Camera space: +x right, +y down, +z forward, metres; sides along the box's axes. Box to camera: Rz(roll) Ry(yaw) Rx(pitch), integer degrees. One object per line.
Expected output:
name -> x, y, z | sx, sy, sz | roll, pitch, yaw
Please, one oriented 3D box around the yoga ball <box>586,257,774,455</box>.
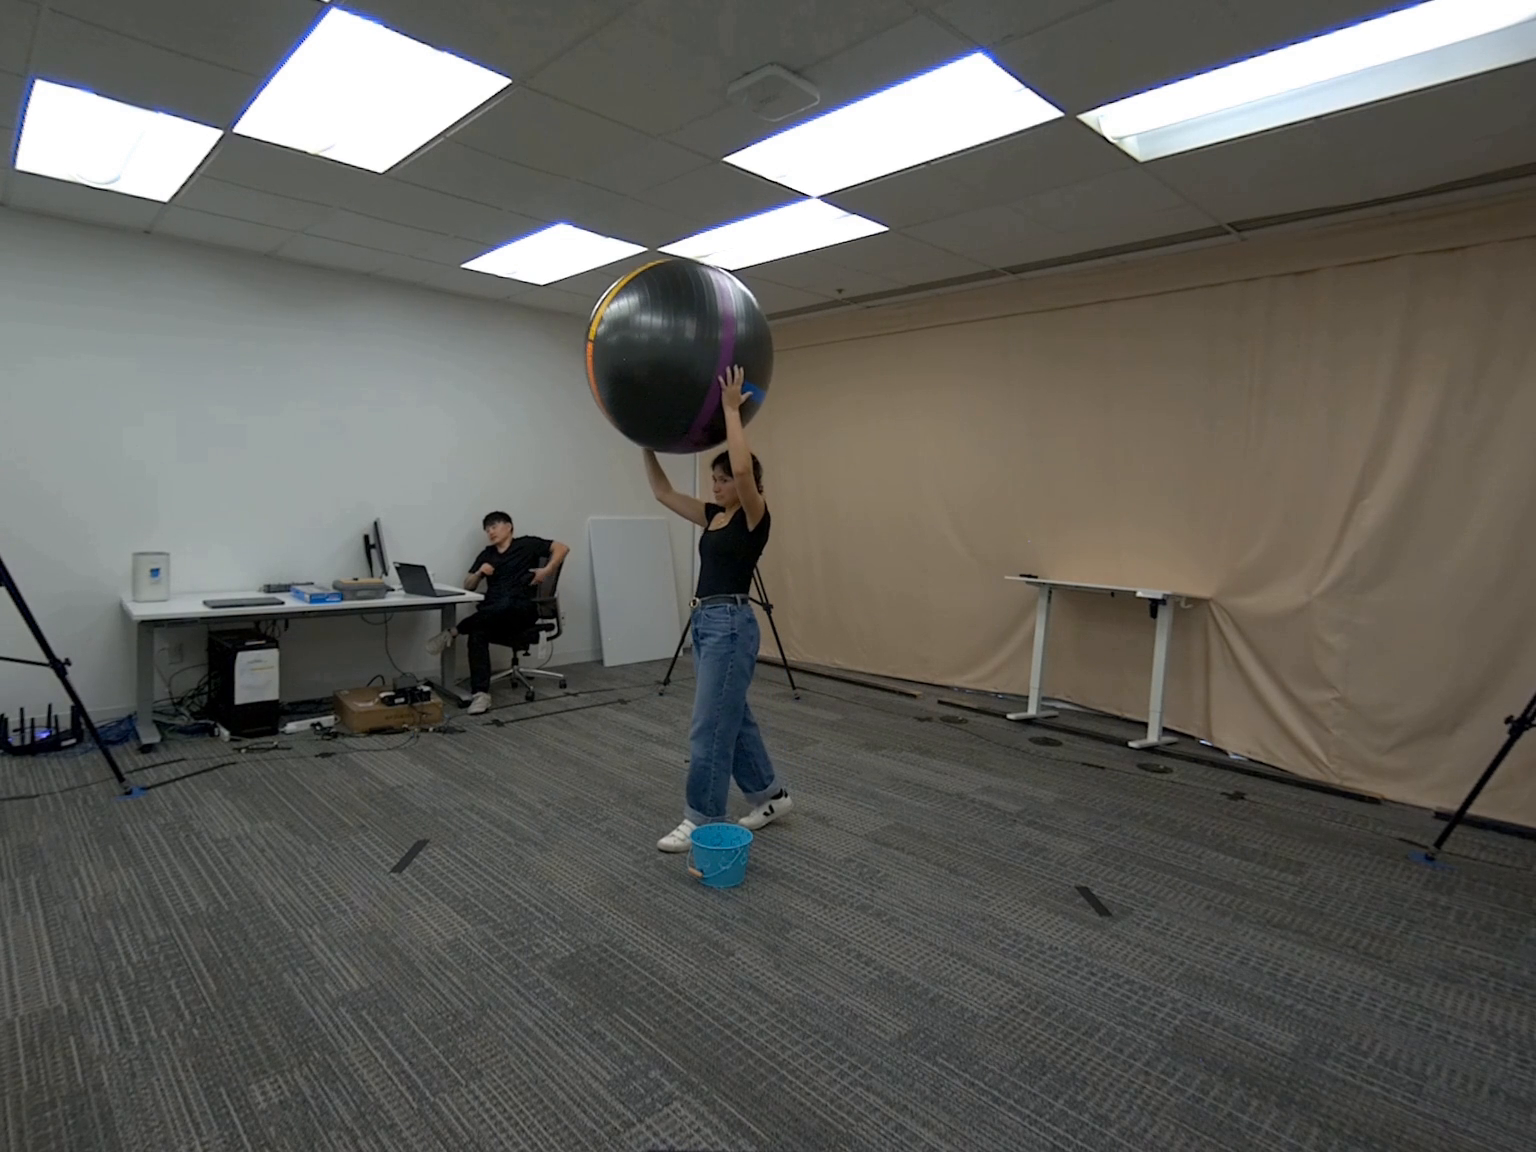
yoga ball -> -0.361, -0.868, 3.375 | 0.757, 0.756, 0.761 | 1, 4, -1
